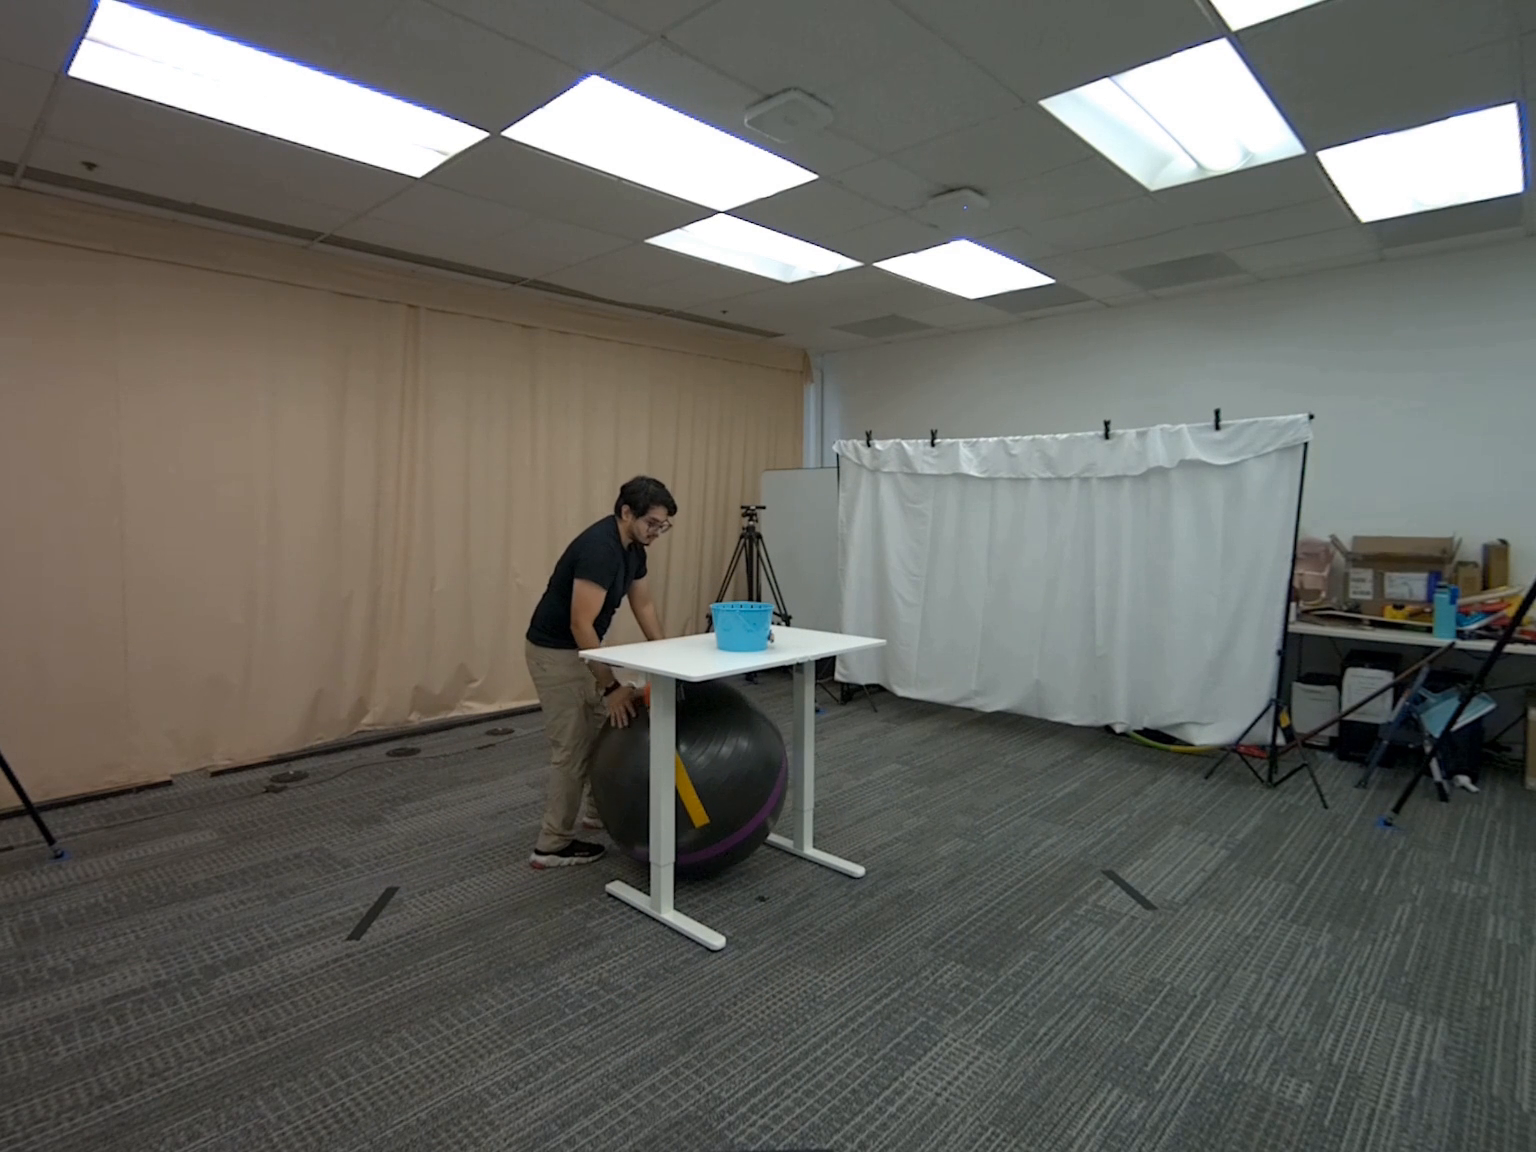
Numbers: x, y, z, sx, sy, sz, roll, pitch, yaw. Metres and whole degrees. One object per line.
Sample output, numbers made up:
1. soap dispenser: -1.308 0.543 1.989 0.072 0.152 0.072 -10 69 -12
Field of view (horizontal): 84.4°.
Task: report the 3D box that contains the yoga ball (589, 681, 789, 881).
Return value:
1. yoga ball: -0.298 0.756 3.250 0.757 0.756 0.760 0 4 -2
